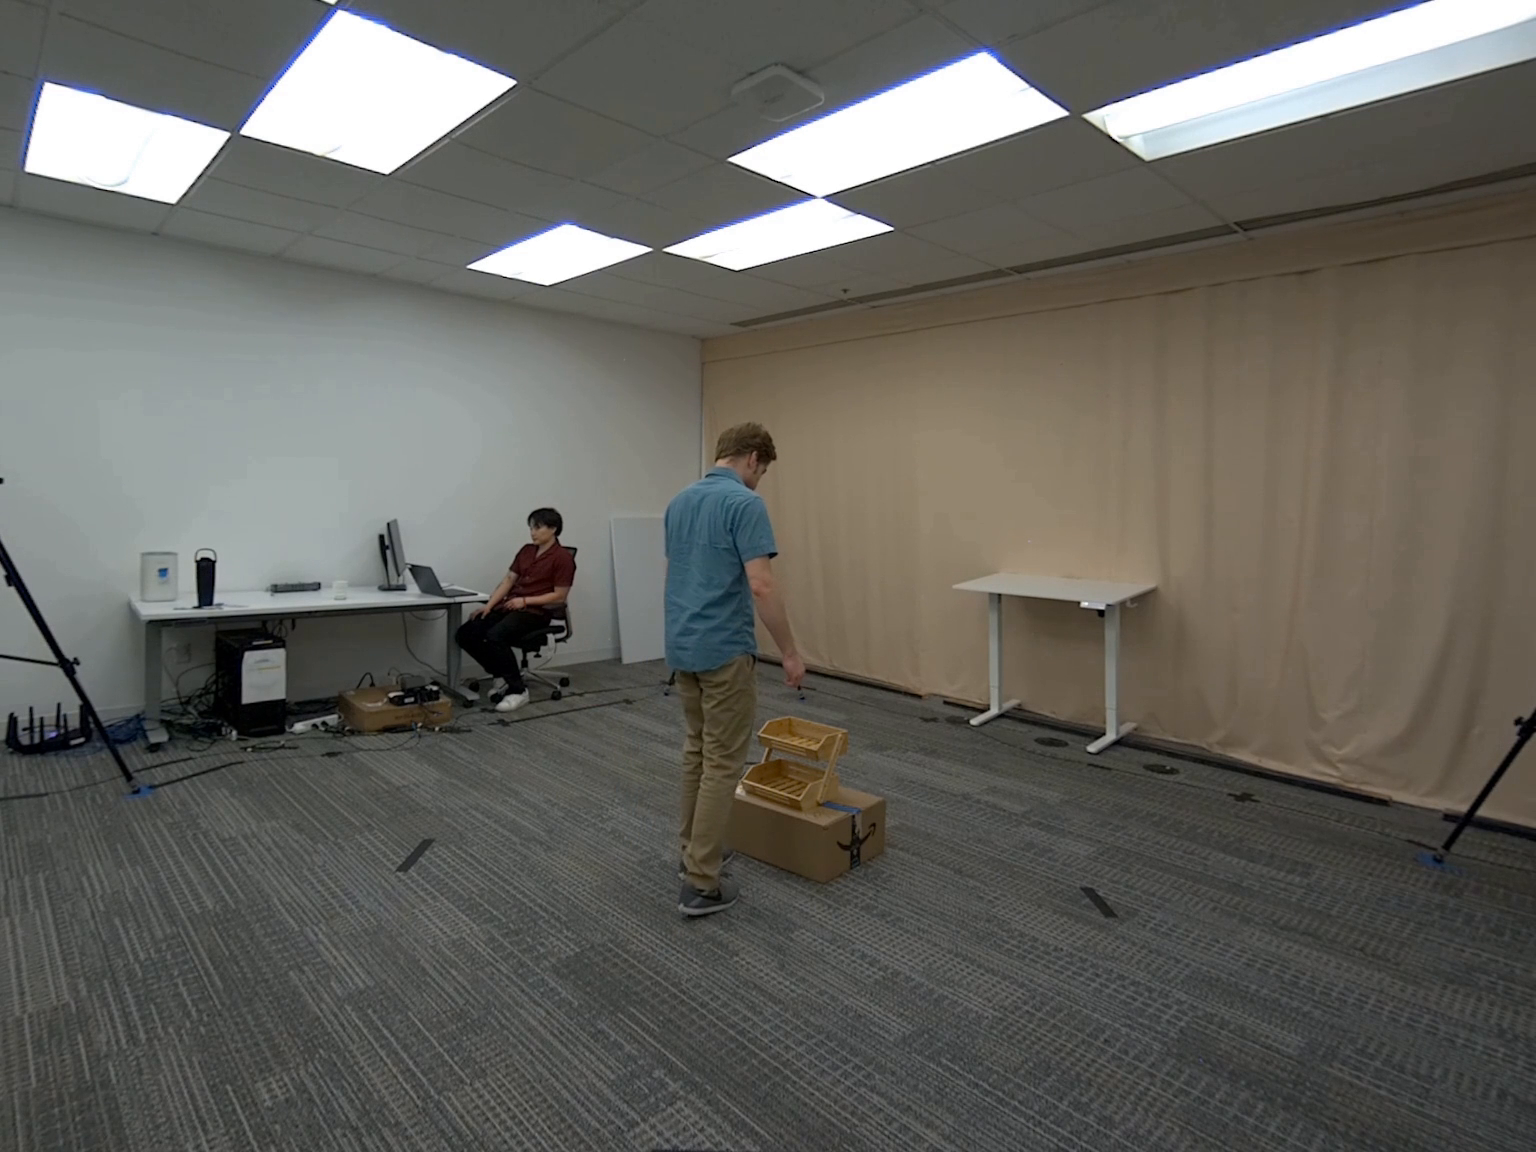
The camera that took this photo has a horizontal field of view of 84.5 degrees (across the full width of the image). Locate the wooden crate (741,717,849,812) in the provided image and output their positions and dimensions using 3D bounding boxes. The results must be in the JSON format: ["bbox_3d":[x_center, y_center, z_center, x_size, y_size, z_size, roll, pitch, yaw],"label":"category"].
[{"bbox_3d":[0.099,0.740,3.384,0.333,0.273,0.295,6,4,41],"label":"wooden crate"}]
